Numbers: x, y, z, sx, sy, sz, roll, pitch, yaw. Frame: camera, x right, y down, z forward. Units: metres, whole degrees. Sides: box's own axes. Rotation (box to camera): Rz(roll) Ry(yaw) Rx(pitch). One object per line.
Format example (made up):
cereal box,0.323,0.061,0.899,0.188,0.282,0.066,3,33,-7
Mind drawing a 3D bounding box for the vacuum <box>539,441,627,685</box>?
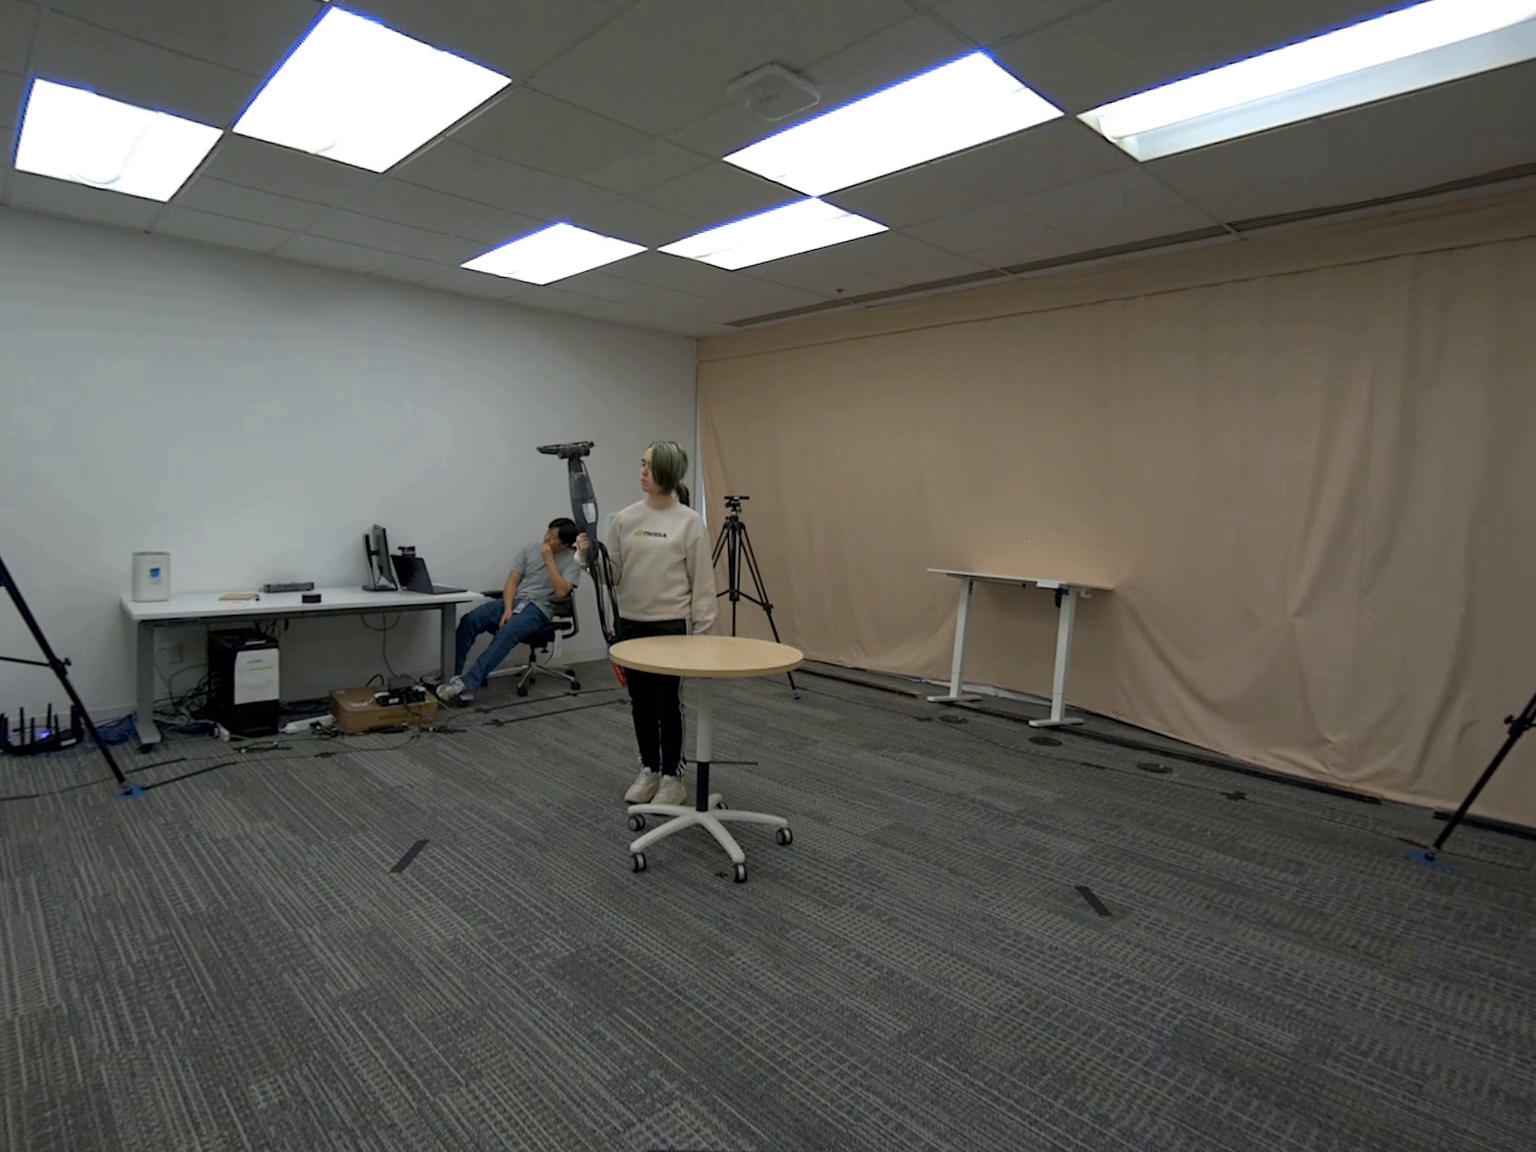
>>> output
vacuum,-0.757,-0.055,3.619,0.249,1.053,0.145,-12,-5,-27
